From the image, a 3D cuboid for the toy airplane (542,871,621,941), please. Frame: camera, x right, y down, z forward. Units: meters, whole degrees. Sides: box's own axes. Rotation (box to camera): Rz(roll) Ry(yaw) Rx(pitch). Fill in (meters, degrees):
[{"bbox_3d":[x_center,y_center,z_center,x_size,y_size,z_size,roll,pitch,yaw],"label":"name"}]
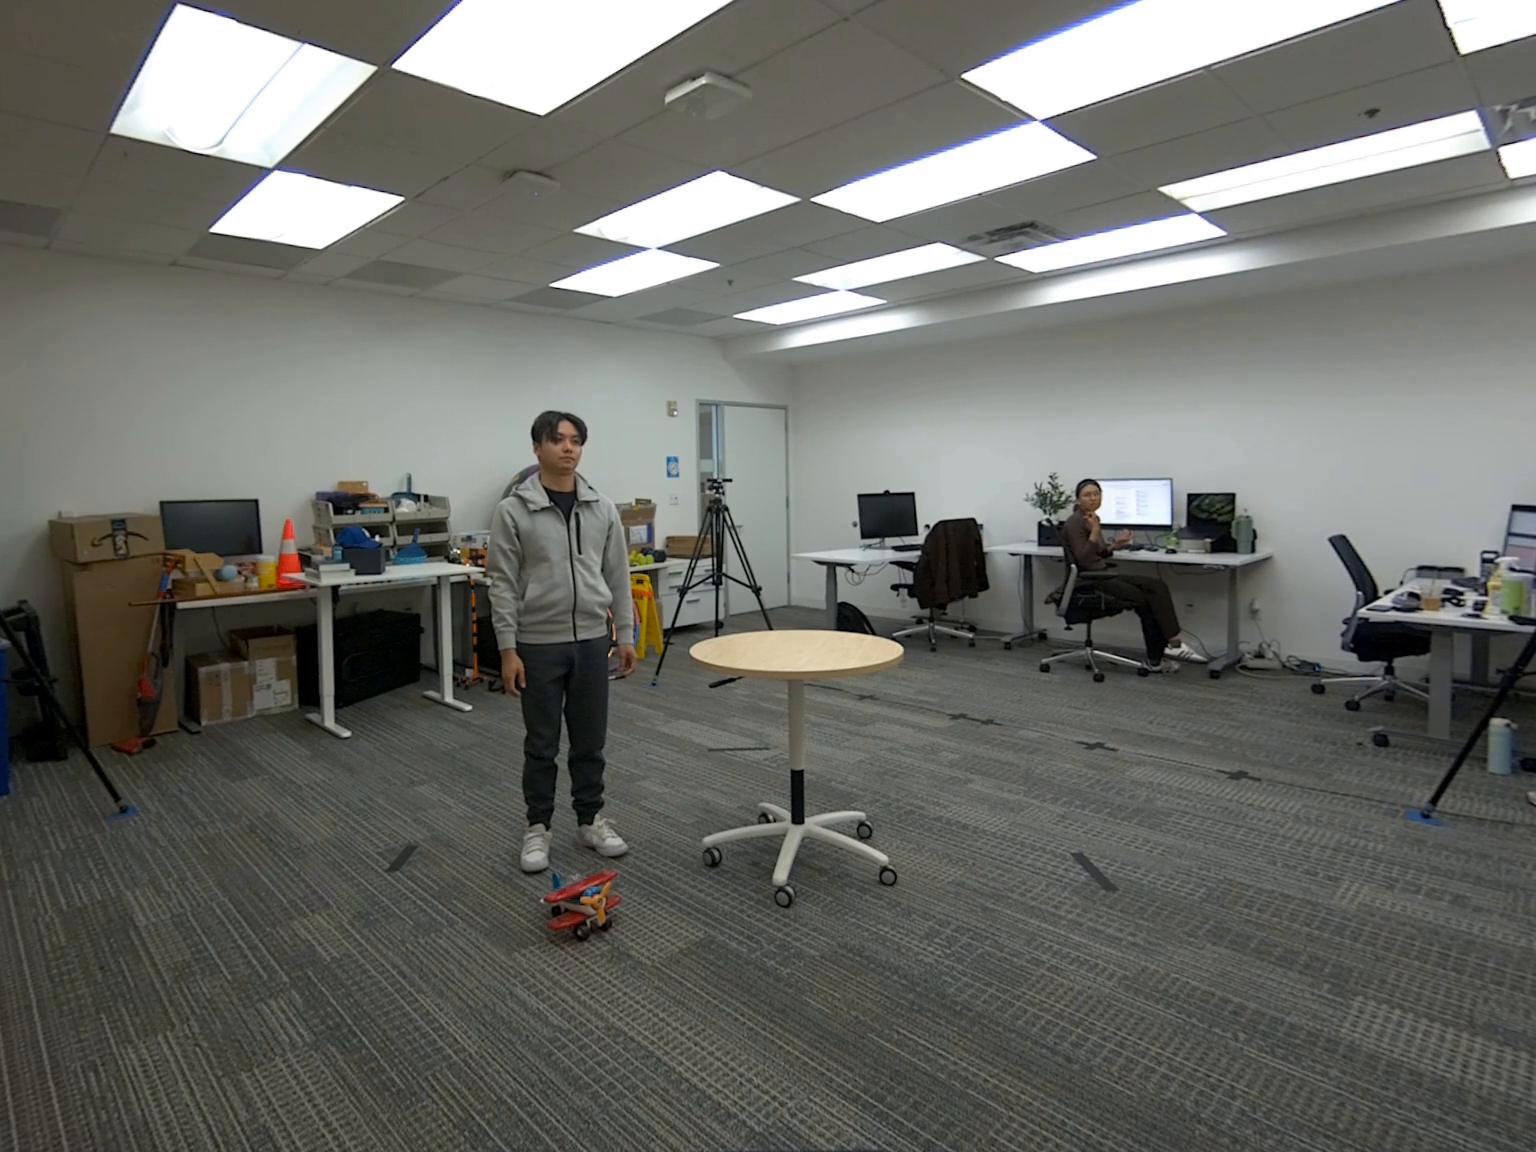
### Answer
[{"bbox_3d":[-0.607,1.030,2.678,0.264,0.155,0.248,2,7,16],"label":"toy airplane"}]
